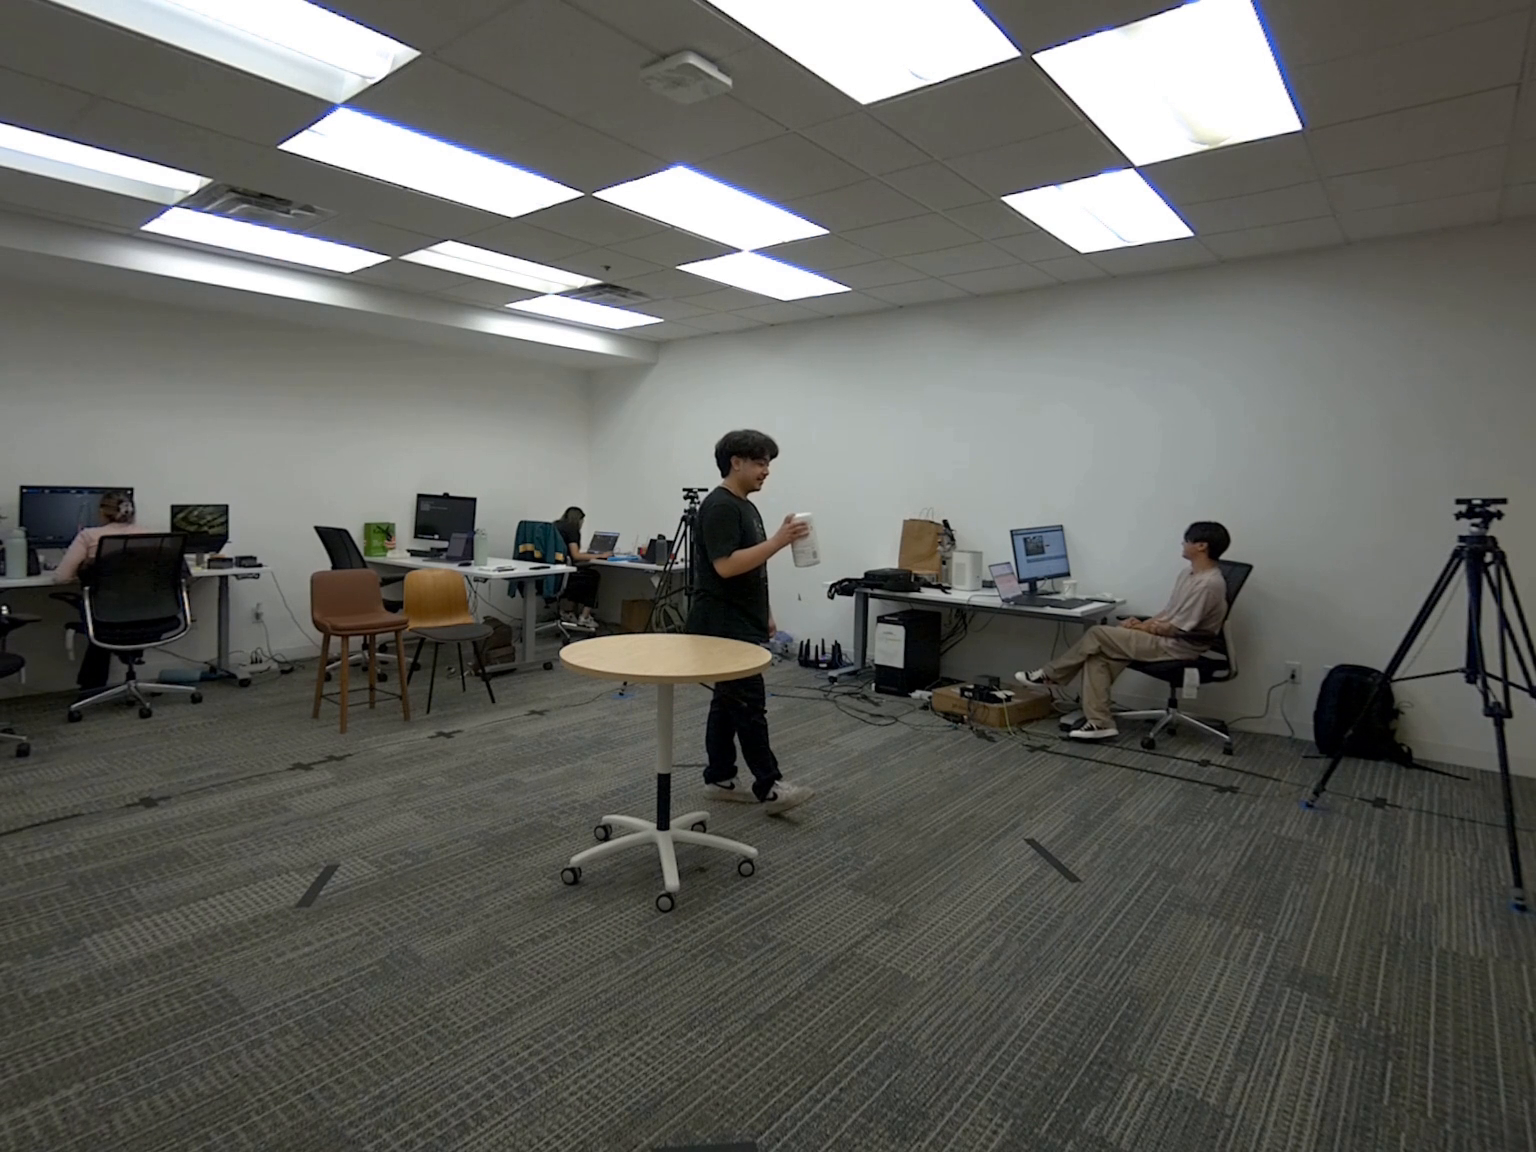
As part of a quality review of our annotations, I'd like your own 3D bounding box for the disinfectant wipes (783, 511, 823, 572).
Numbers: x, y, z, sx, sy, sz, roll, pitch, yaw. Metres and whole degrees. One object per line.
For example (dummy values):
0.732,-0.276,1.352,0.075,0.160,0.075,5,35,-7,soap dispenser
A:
0.142,-0.148,3.517,0.118,0.216,0.119,-10,7,0,disinfectant wipes
